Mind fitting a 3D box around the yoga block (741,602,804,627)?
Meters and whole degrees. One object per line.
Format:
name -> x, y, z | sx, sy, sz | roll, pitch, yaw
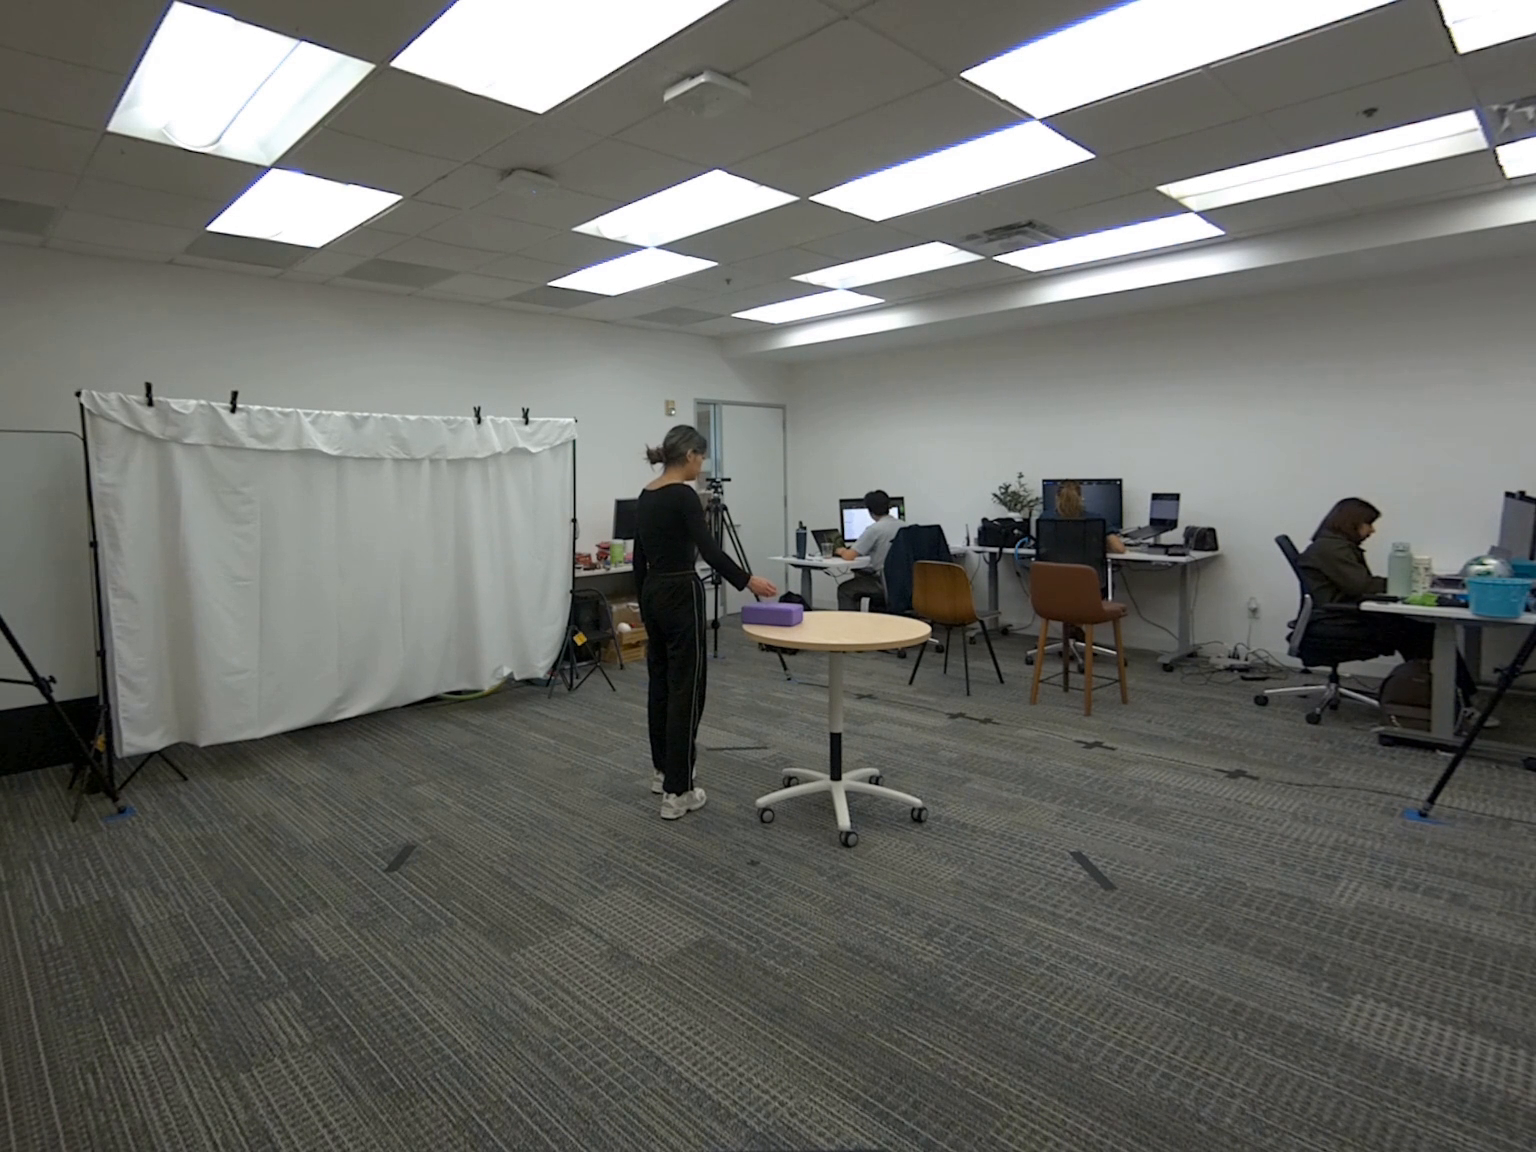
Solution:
yoga block -> 0.015, 0.159, 3.600 | 0.234, 0.076, 0.146 | 3, 6, 23
